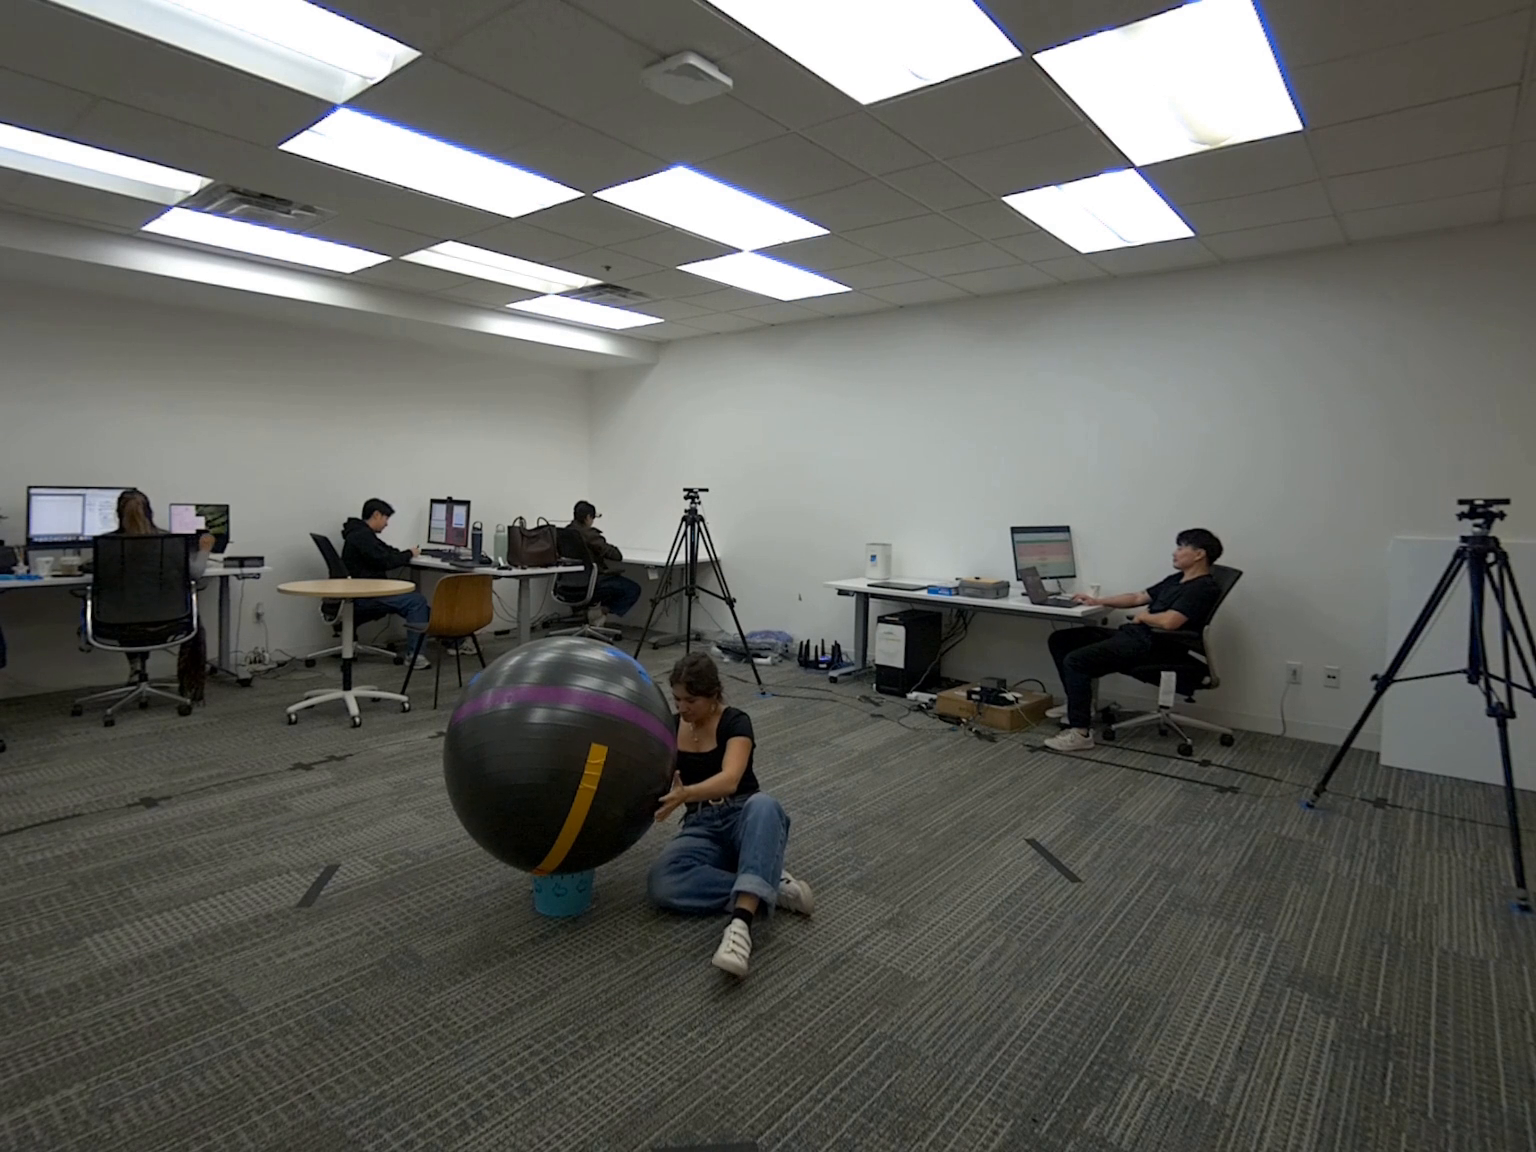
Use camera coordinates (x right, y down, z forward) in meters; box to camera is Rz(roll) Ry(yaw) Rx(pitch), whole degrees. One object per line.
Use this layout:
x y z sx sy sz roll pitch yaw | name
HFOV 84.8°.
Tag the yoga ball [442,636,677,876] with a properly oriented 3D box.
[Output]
-0.698 0.581 2.799 0.757 0.755 0.762 1 4 -2 | yoga ball
